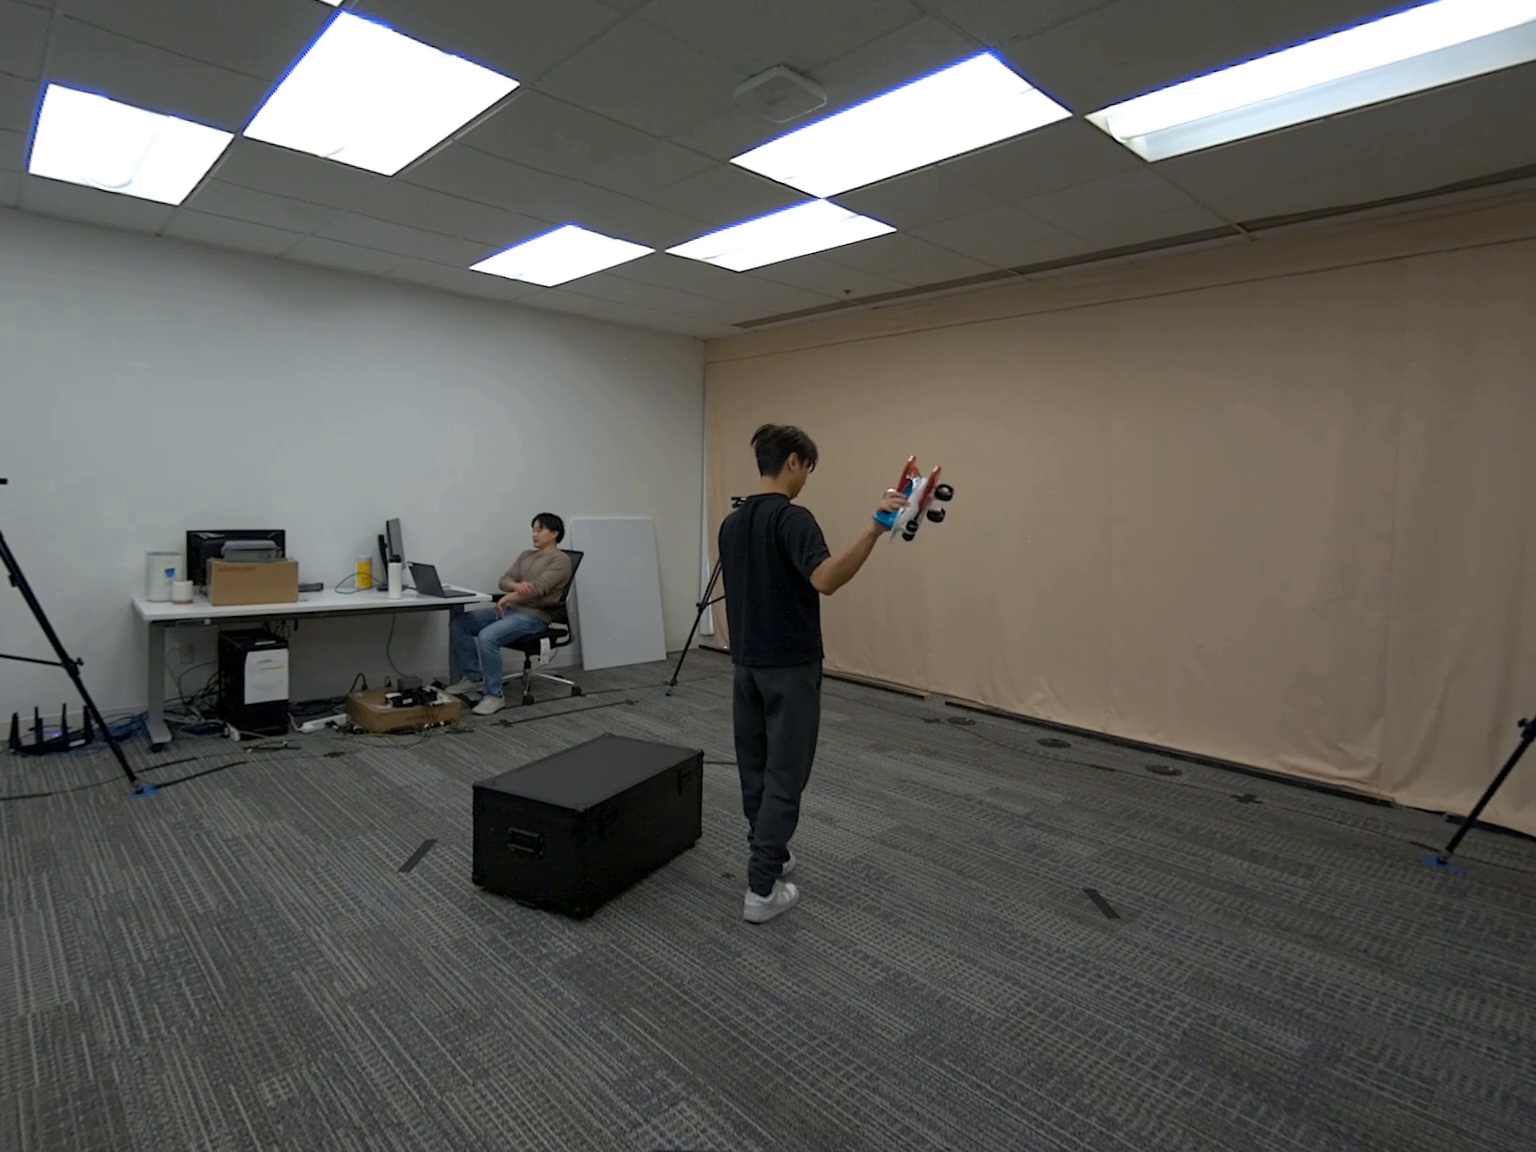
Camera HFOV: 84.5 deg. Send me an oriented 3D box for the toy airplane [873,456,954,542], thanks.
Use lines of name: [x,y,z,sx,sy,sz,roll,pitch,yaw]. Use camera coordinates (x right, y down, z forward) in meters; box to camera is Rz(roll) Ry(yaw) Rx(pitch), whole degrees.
toy airplane: [0.429,-0.217,2.470,0.160,0.250,0.254,35,20,22]
